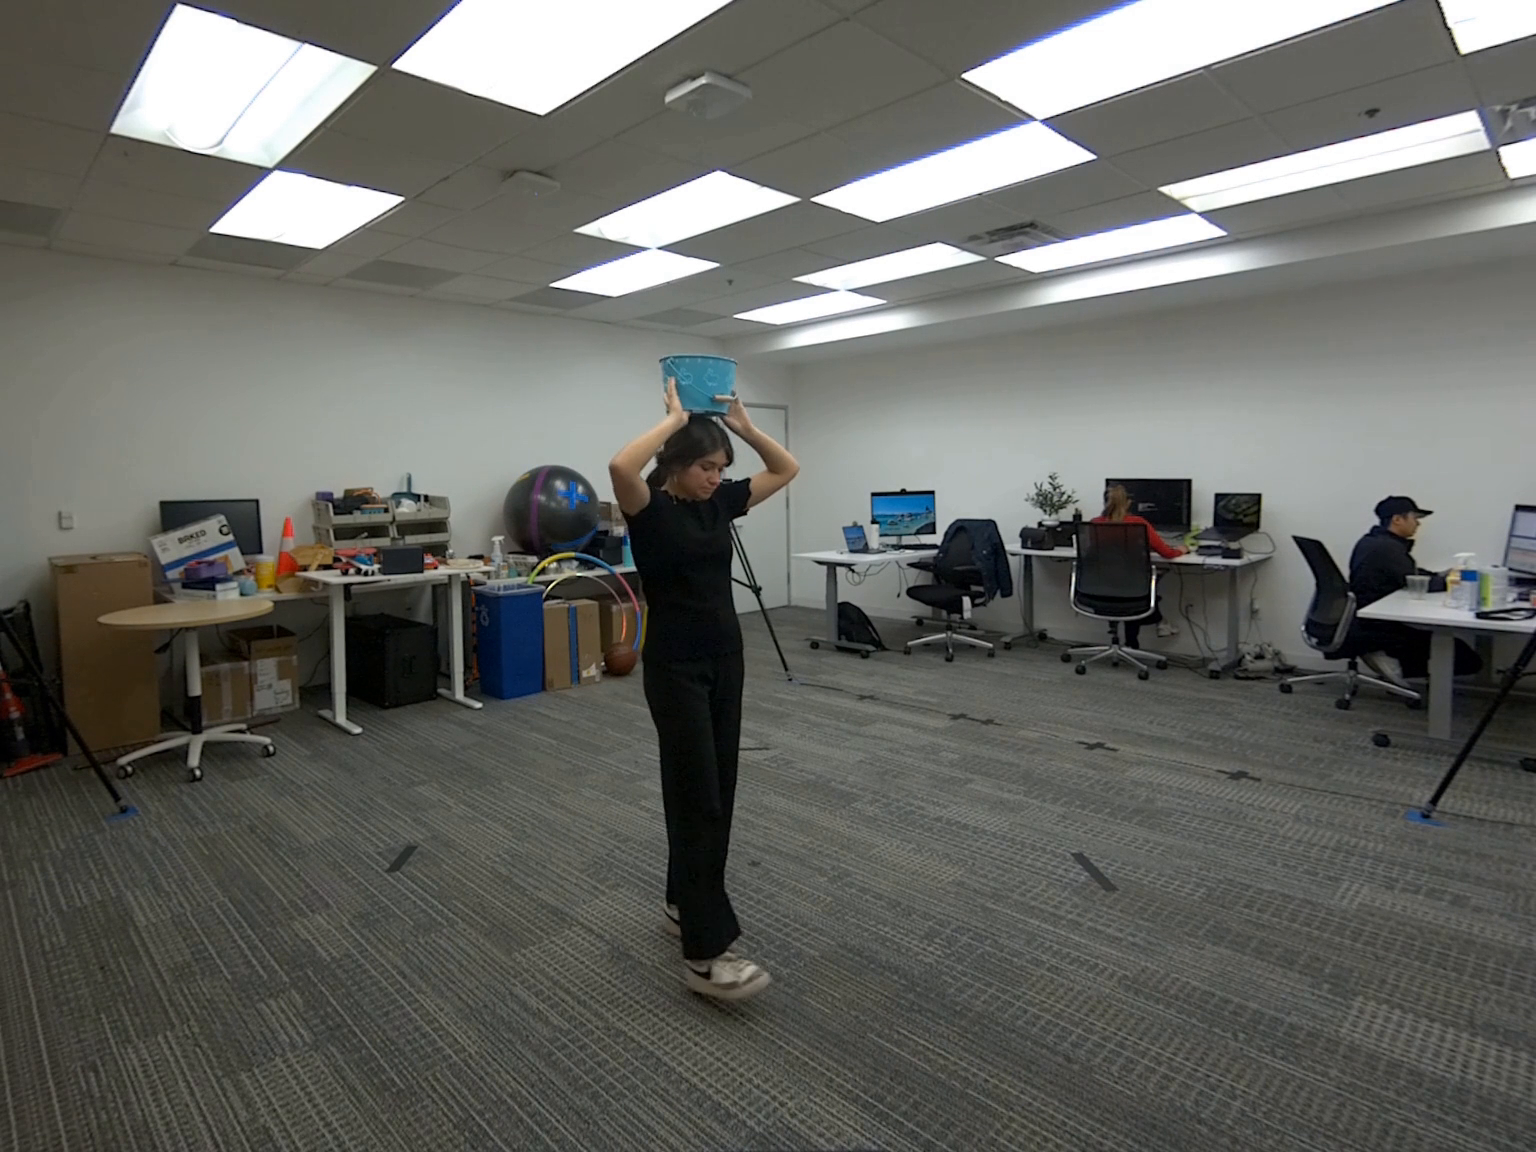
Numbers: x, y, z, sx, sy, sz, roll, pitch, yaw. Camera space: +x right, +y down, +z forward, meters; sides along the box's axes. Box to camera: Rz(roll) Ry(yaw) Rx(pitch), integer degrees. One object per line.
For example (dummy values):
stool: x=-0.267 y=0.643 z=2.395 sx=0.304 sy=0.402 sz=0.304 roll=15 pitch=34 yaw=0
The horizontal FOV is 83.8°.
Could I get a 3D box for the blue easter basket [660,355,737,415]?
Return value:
blue easter basket: x=-0.211 y=-0.554 z=2.500 sx=0.243 sy=0.155 sz=0.244 roll=0 pitch=4 yaw=-2
